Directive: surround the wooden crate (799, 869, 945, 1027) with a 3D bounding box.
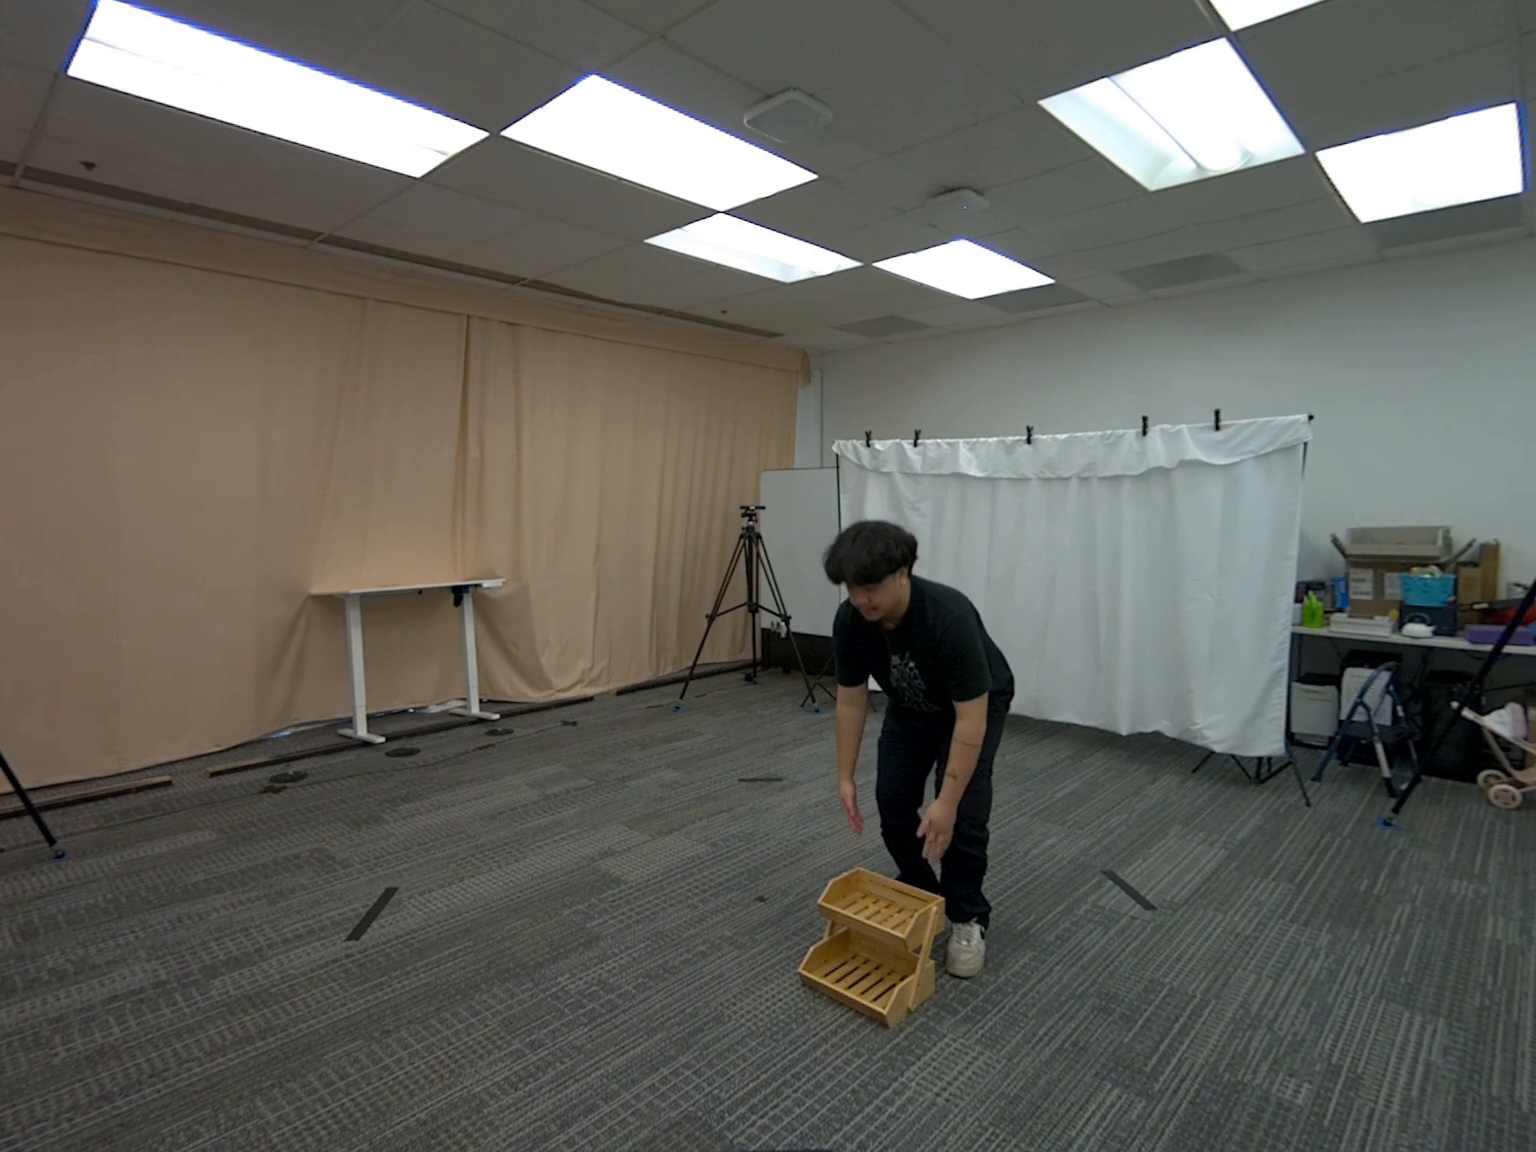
[{"bbox_3d":[0.300,1.050,2.437,0.335,0.273,0.293,4,5,42],"label":"wooden crate"}]
